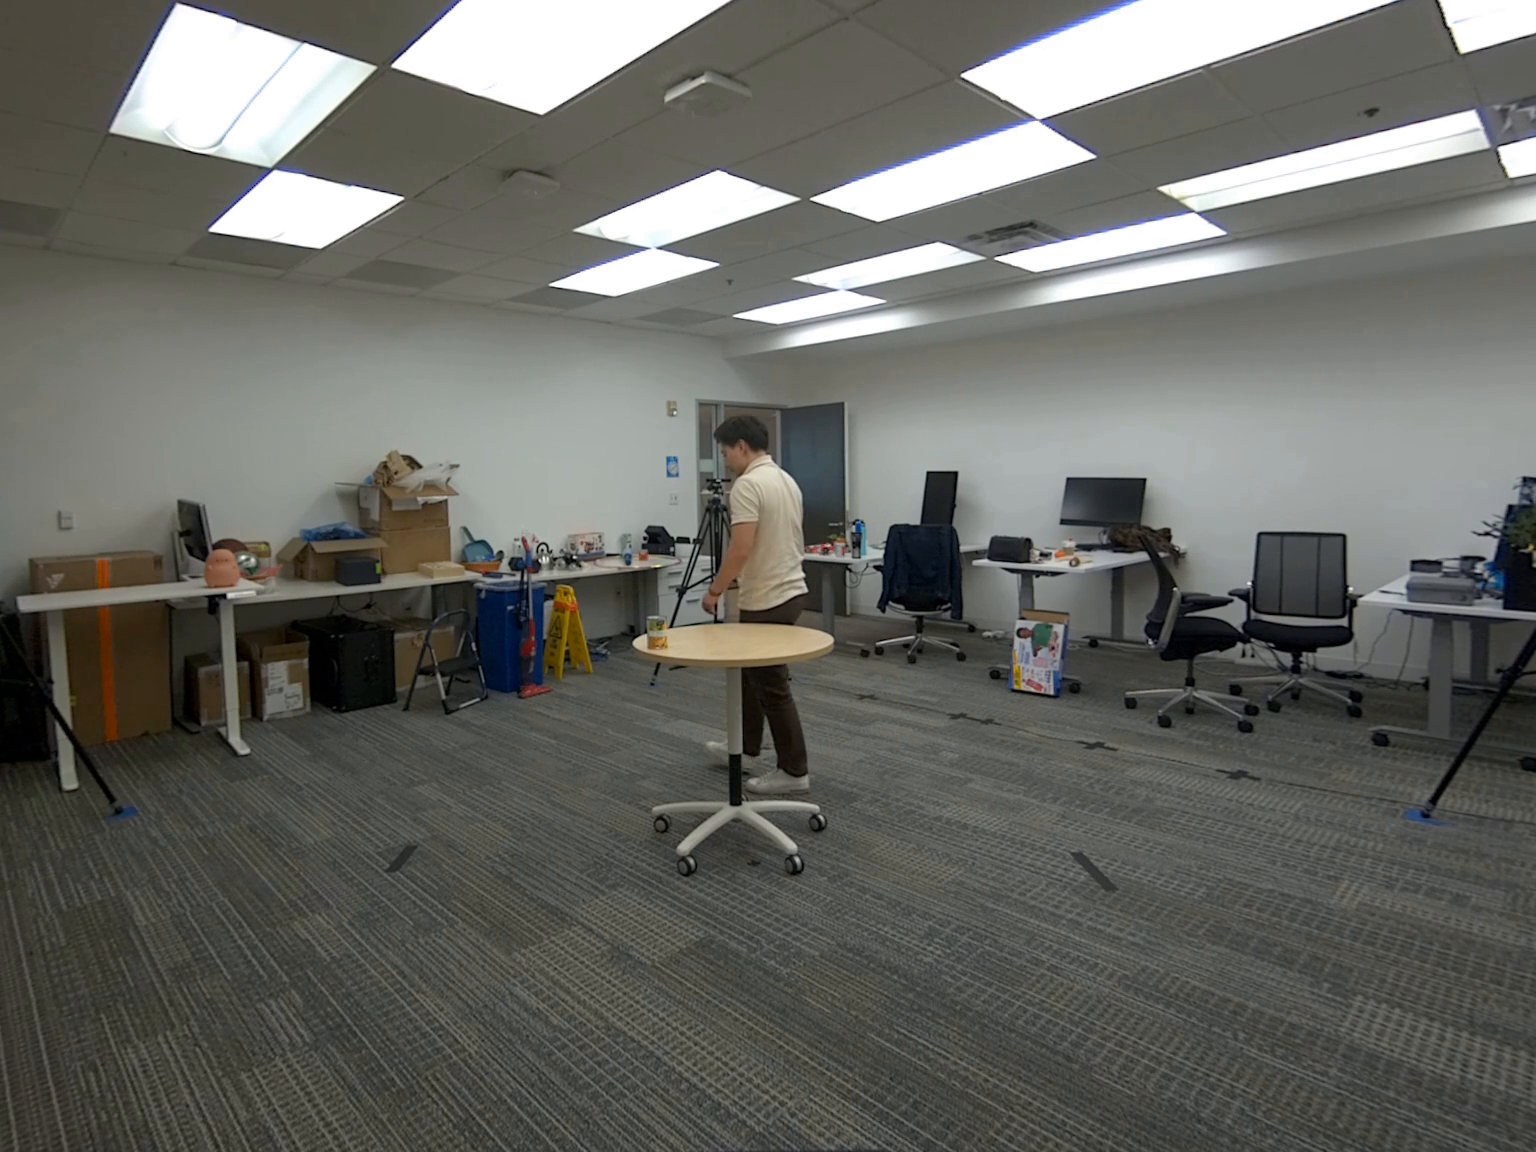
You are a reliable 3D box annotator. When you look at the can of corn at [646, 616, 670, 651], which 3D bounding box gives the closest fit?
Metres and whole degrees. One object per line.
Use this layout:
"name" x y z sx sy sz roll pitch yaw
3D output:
"can of corn" -0.401 0.208 3.124 0.074 0.110 0.074 -3 5 -1
